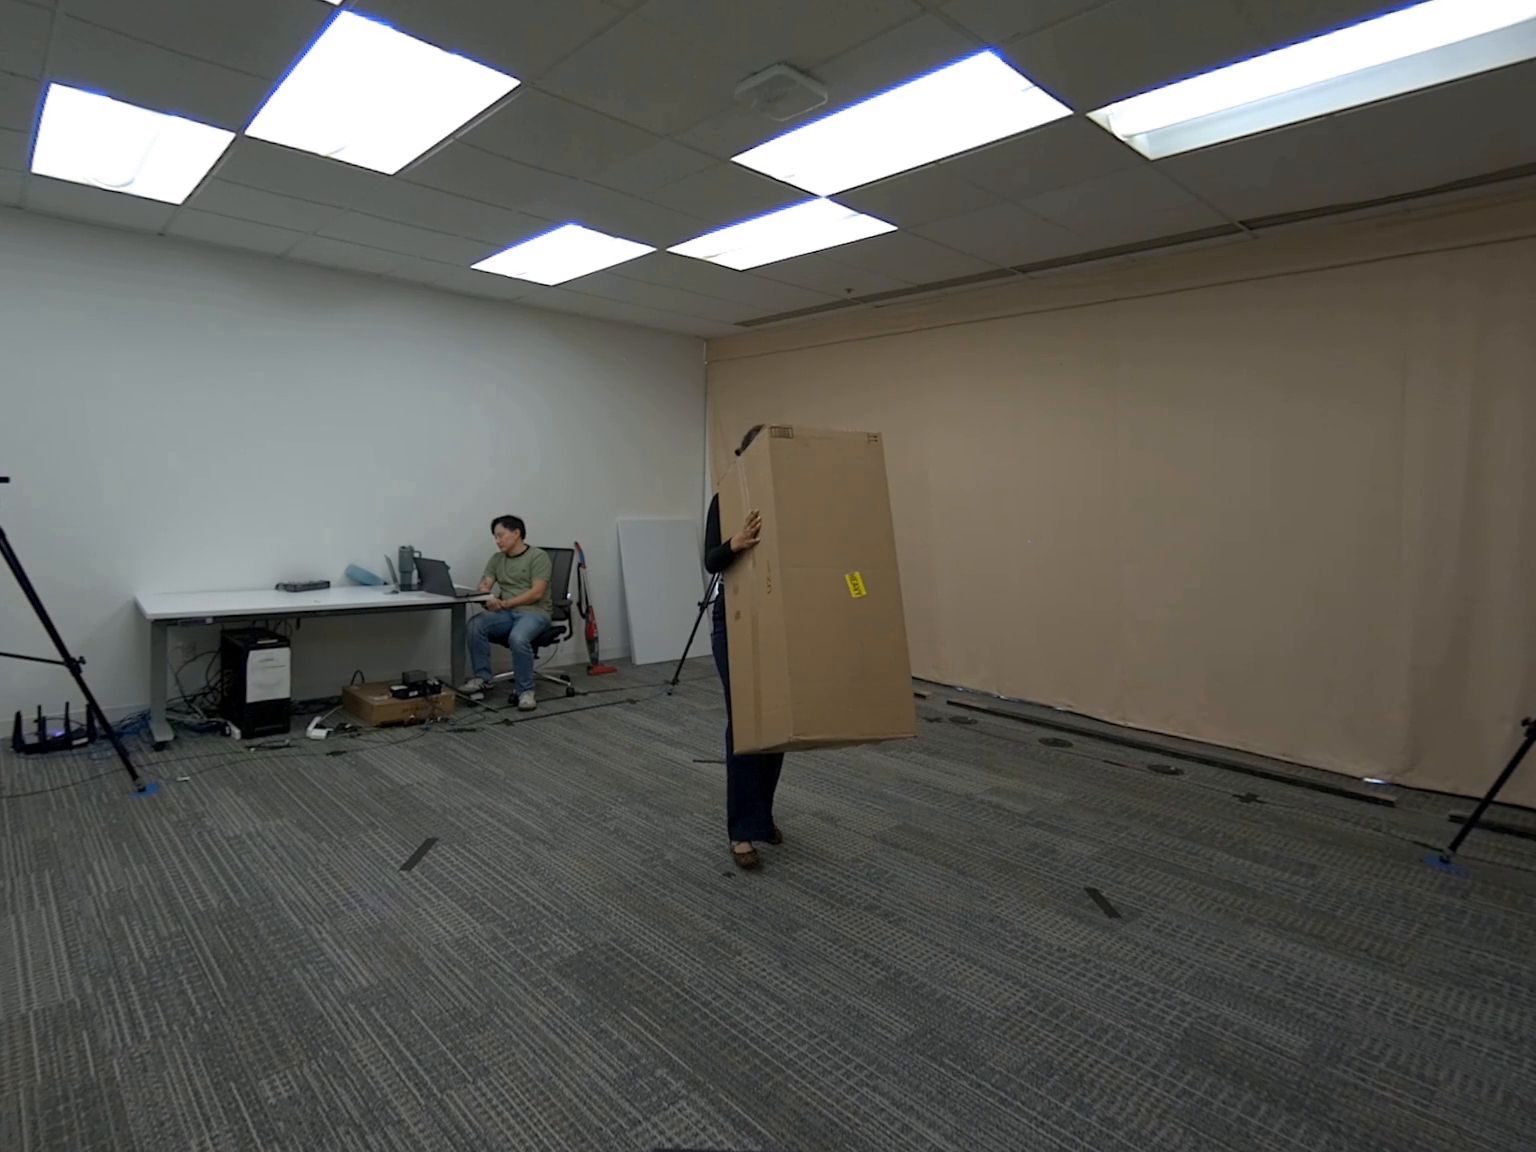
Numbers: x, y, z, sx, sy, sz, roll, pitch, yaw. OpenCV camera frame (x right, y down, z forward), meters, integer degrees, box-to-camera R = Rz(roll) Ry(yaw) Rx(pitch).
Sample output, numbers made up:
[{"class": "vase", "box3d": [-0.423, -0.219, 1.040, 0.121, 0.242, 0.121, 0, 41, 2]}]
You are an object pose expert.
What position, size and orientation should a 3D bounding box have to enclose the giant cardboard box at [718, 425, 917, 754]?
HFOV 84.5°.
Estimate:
[{"class": "giant cardboard box", "box3d": [0.133, 0.075, 2.926, 0.420, 1.039, 0.579, 2, -17, -20]}]
